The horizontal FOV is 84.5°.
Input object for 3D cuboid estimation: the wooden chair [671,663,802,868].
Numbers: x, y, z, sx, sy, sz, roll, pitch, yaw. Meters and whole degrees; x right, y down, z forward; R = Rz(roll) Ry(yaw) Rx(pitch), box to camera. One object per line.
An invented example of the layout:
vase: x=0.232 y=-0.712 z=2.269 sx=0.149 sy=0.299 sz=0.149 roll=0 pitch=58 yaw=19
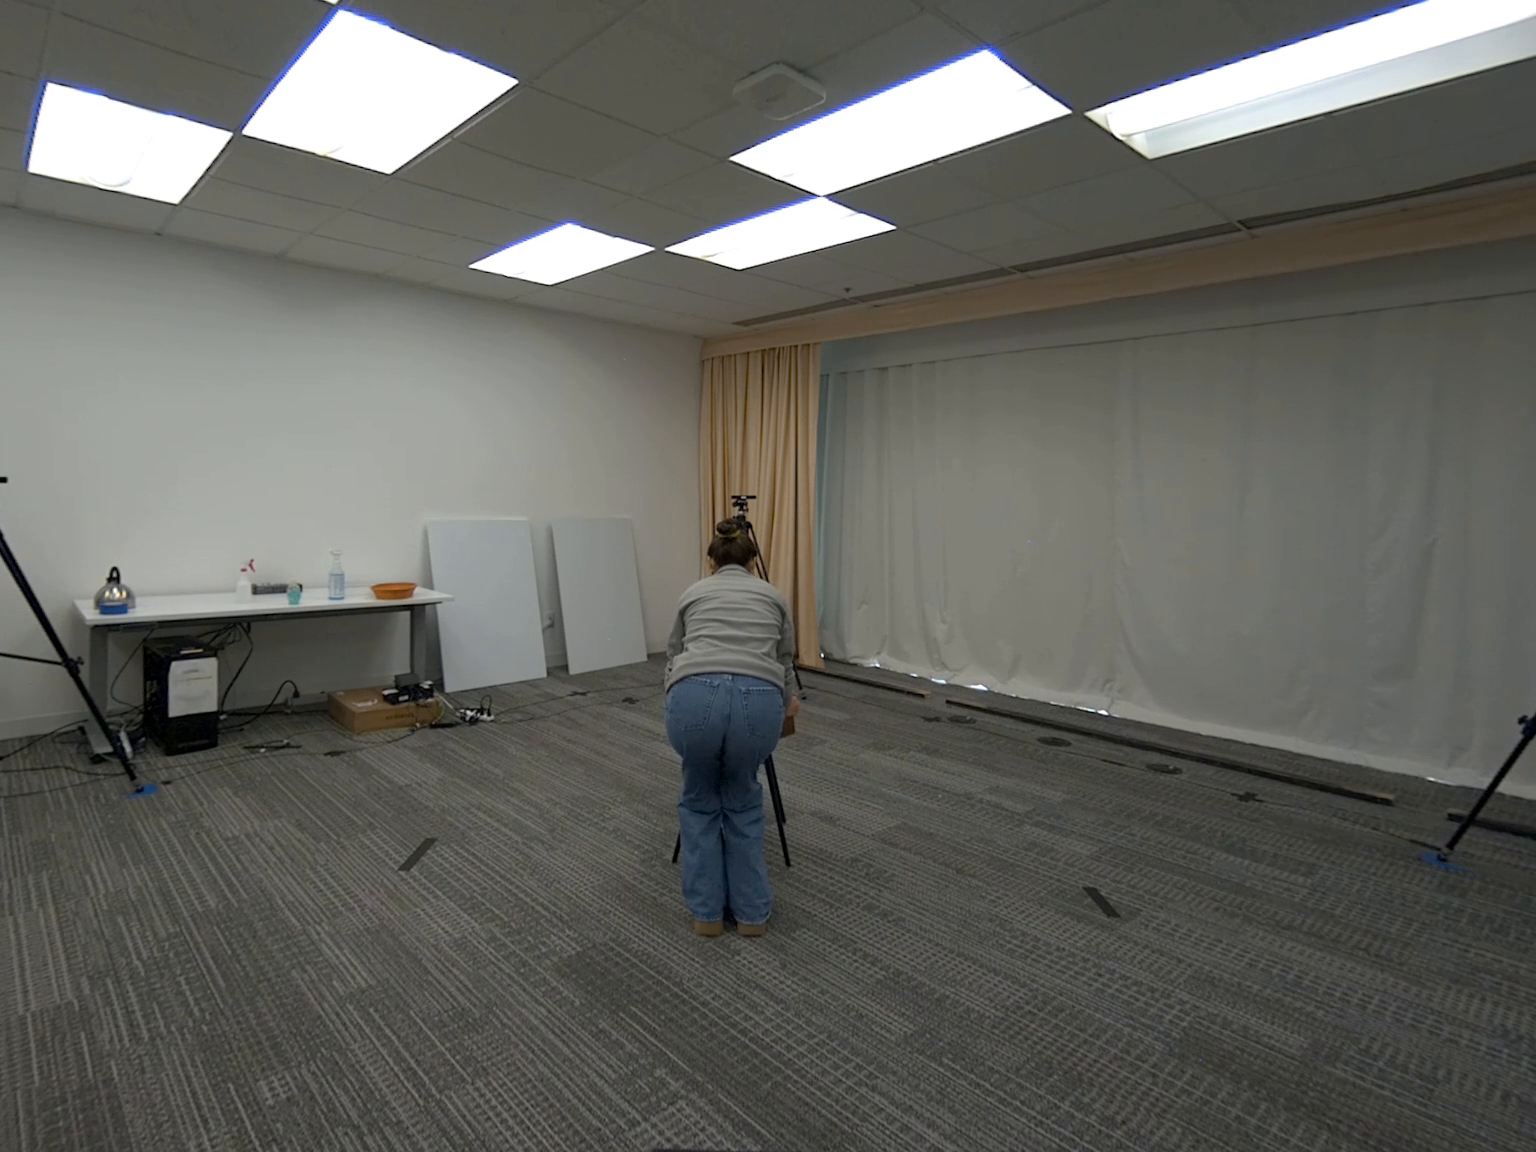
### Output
wooden chair: x=-0.135 y=0.652 z=3.388 sx=0.478 sy=0.873 sz=0.525 roll=1 pitch=7 yaw=0
